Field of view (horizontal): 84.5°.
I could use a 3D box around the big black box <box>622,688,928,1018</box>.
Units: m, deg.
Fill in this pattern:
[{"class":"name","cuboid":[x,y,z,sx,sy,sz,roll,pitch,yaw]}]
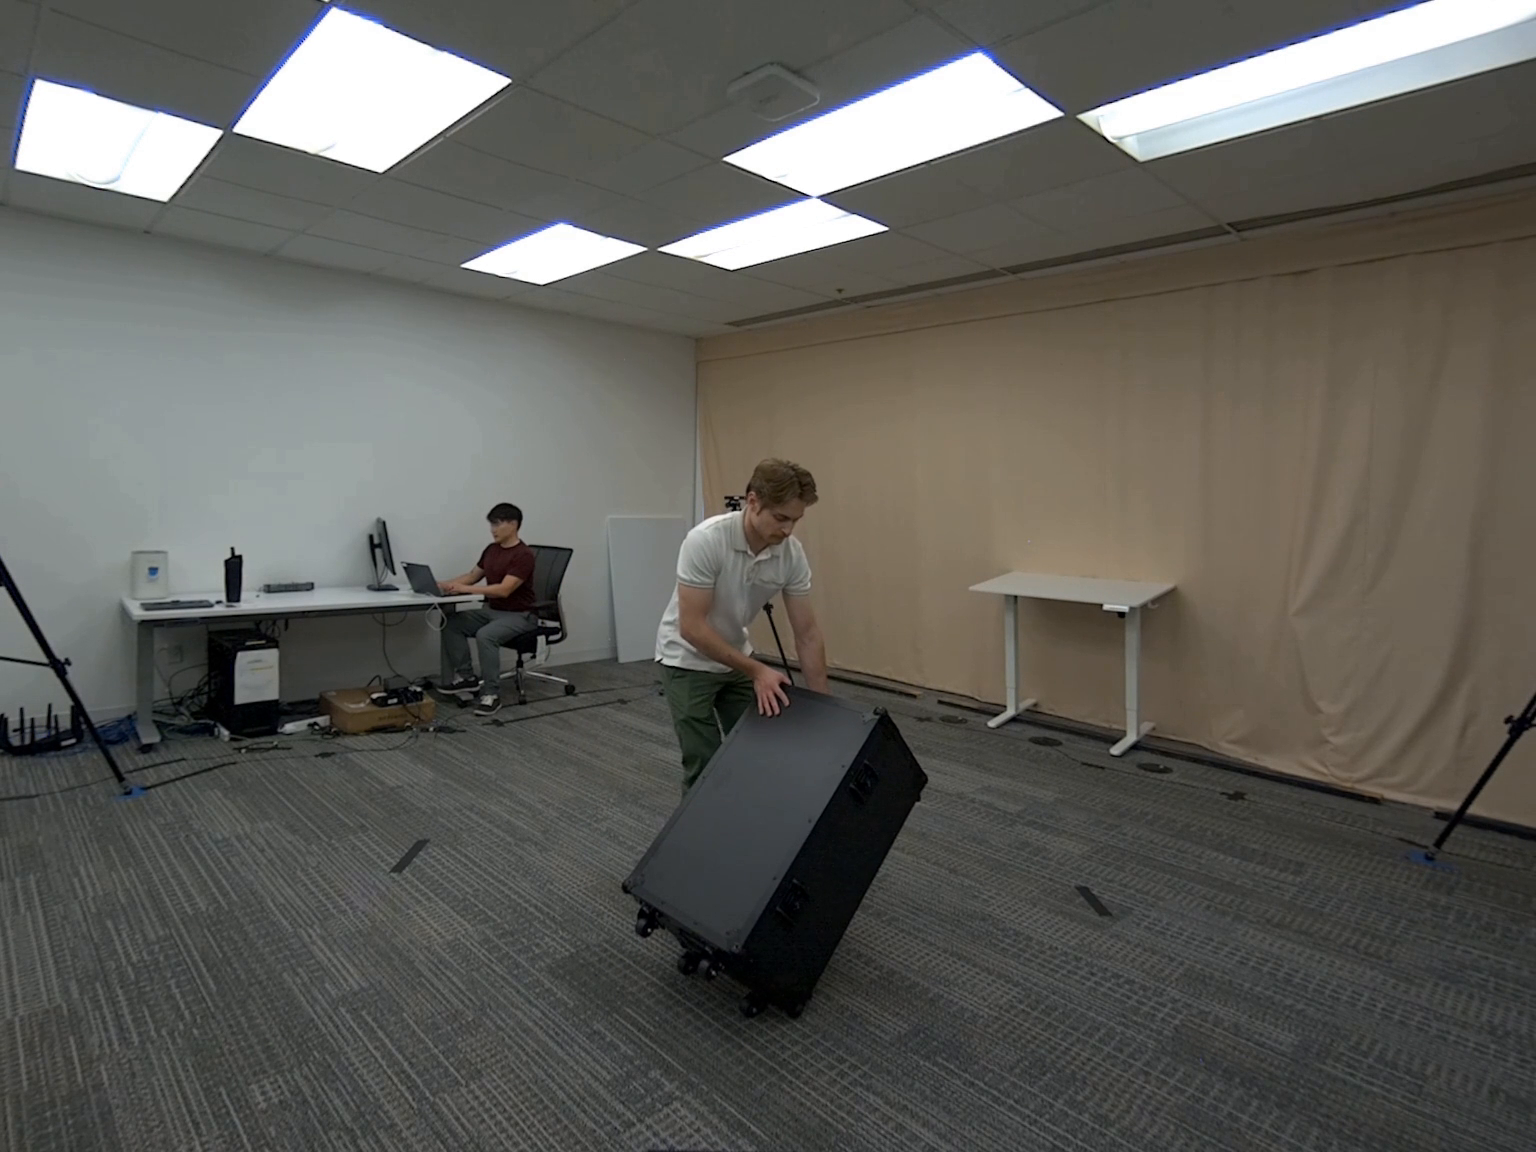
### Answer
[{"class":"big black box","cuboid":[0.013,0.790,2.489,0.537,0.374,0.870,7,50,45]}]
